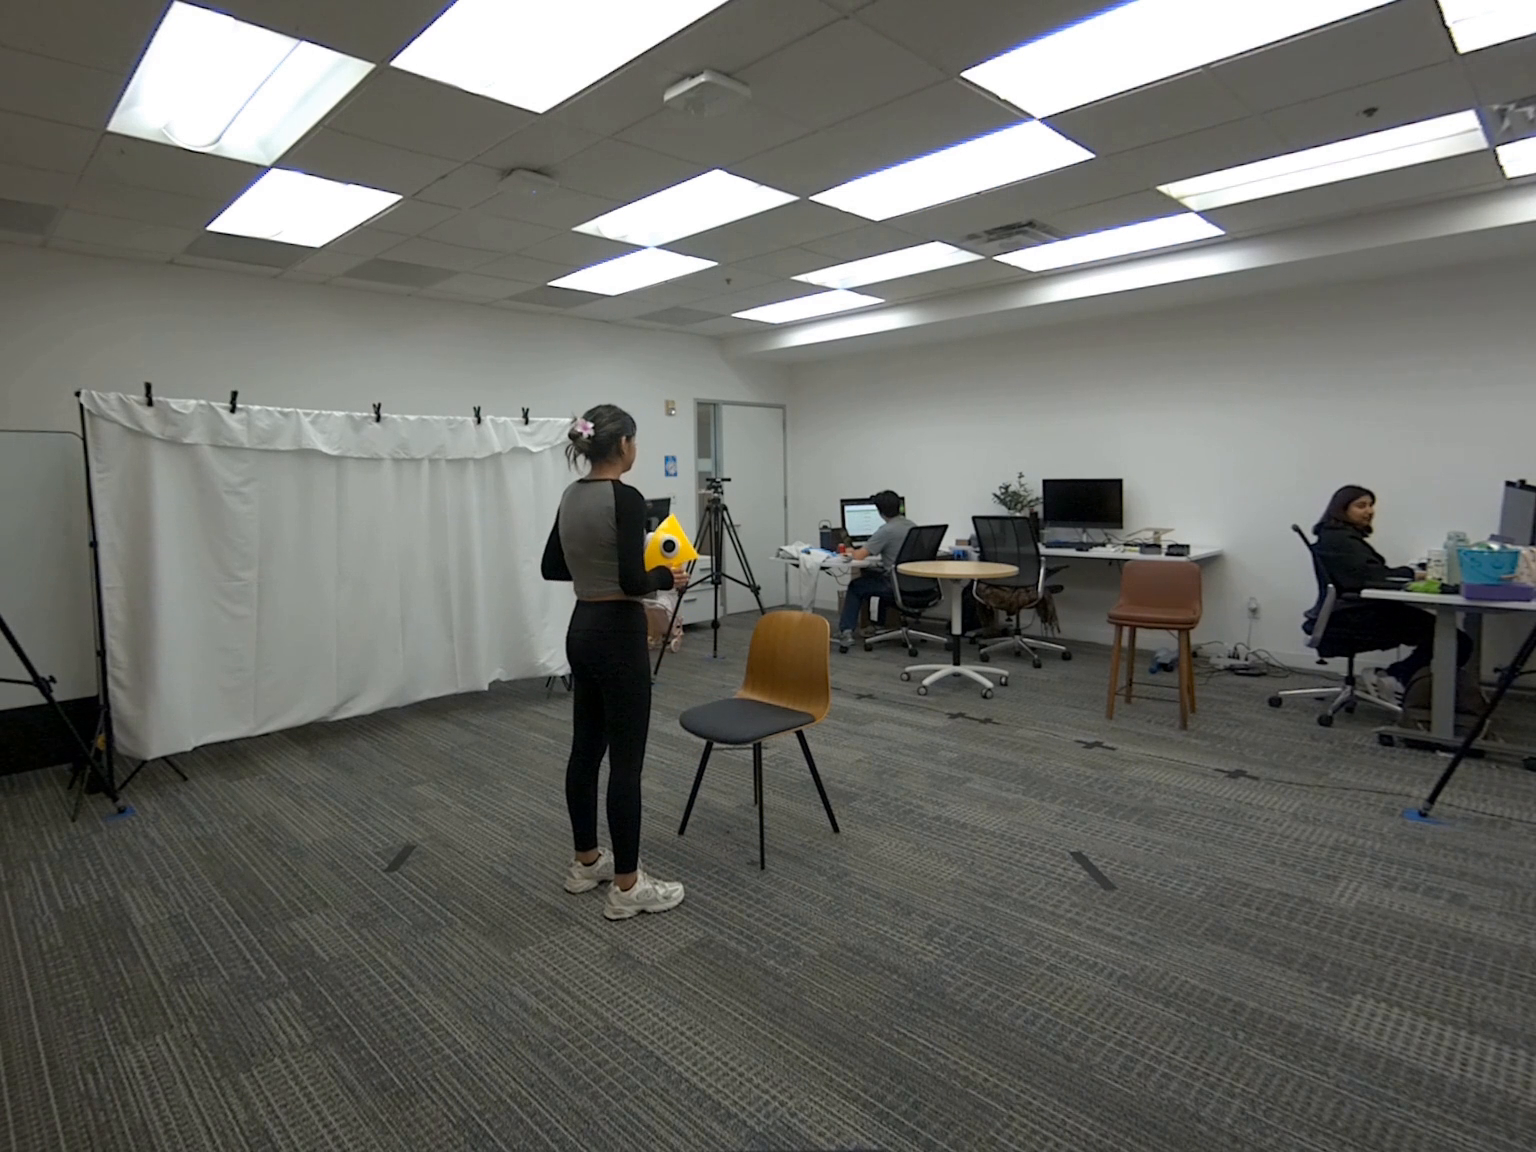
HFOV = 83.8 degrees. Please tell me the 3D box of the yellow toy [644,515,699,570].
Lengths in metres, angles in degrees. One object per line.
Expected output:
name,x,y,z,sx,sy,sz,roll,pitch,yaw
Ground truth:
yellow toy,-0.375,-0.095,3.004,0.188,0.229,0.211,-9,11,-43
